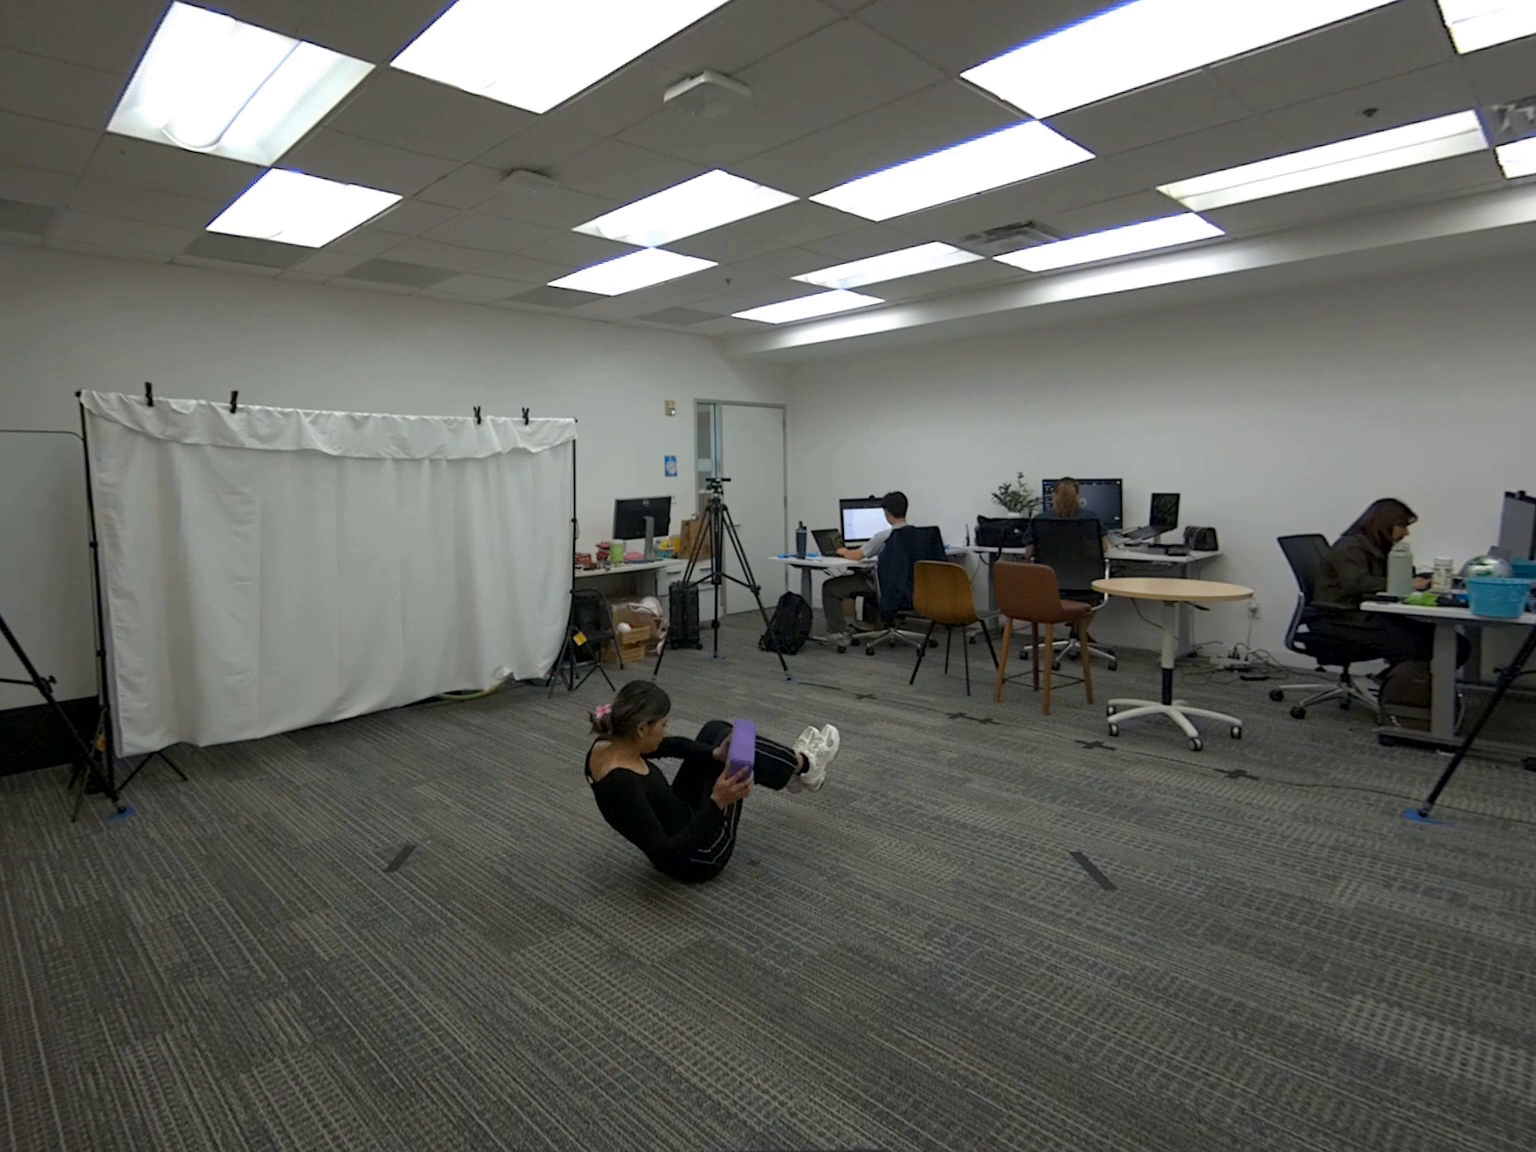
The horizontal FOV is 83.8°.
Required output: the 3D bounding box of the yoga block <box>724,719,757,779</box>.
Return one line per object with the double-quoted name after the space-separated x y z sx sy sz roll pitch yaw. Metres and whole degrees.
-0.108 0.602 2.833 0.076 0.147 0.234 9 24 -5 "yoga block"
